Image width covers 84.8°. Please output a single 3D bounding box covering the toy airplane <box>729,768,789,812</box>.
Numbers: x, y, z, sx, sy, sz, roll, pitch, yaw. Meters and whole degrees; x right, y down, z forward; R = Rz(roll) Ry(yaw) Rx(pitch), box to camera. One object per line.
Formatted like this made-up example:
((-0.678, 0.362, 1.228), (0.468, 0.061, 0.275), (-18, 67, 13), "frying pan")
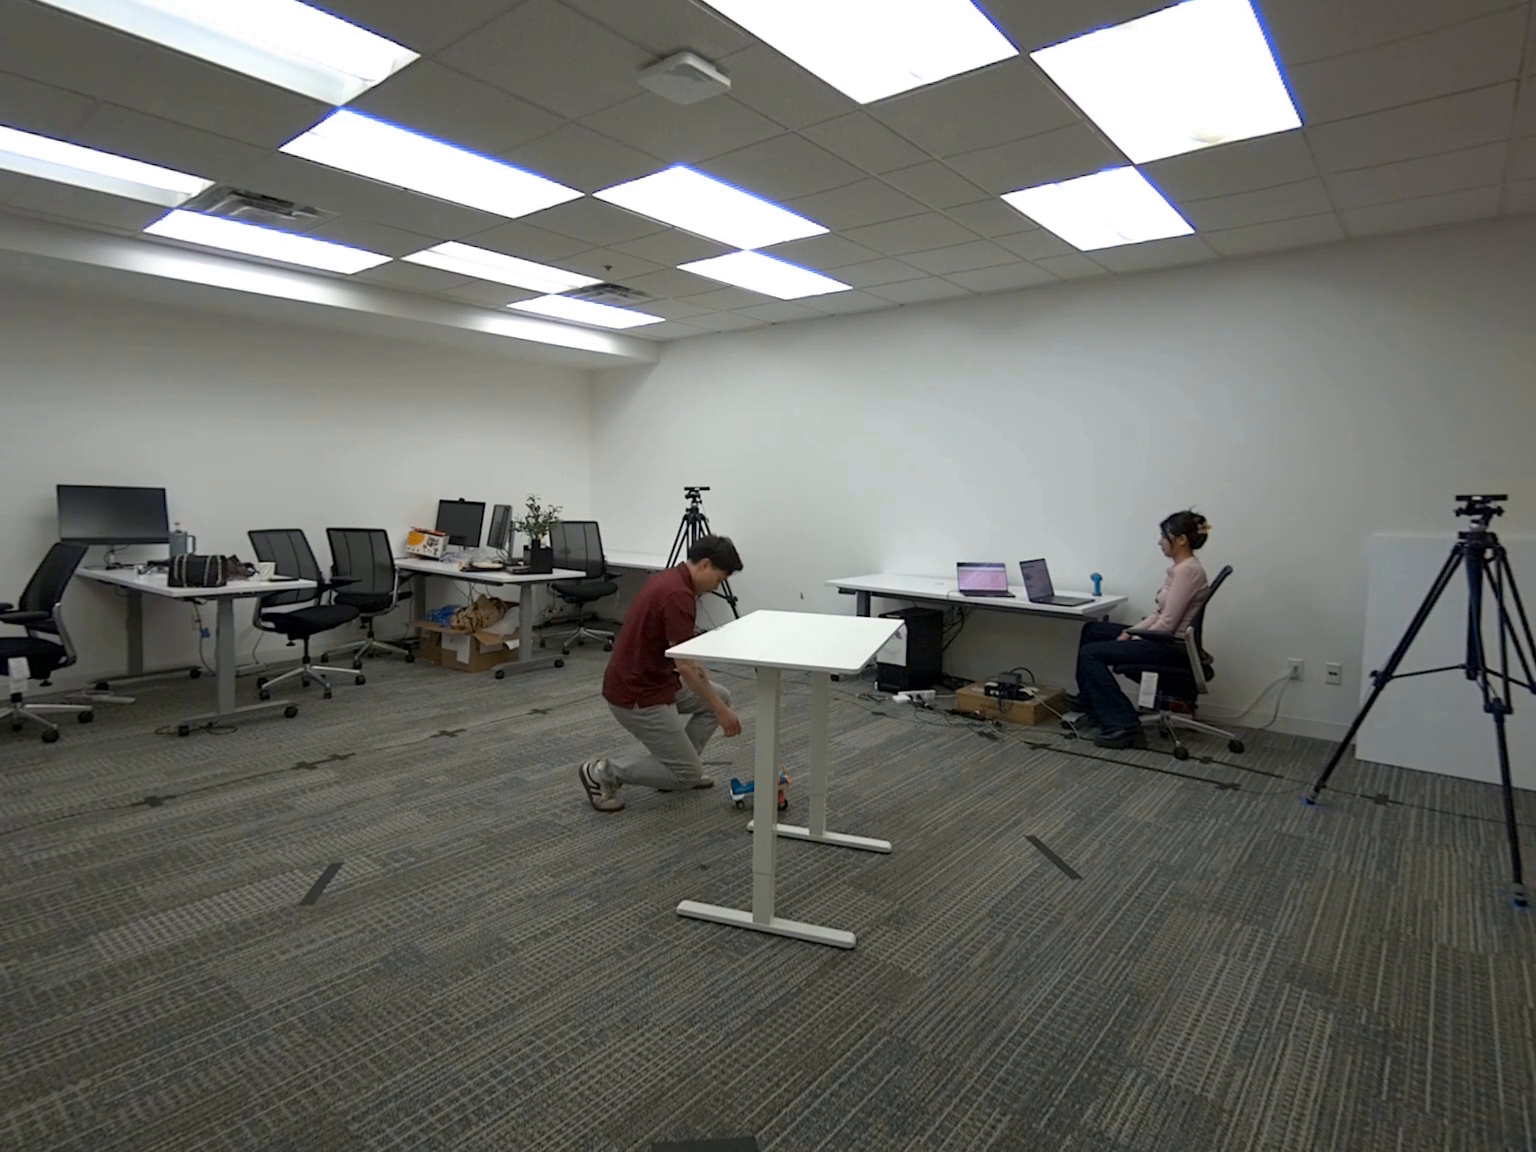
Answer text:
((-0.036, 0.940, 3.716), (0.252, 0.156, 0.259), (-2, 7, -34), "toy airplane")
